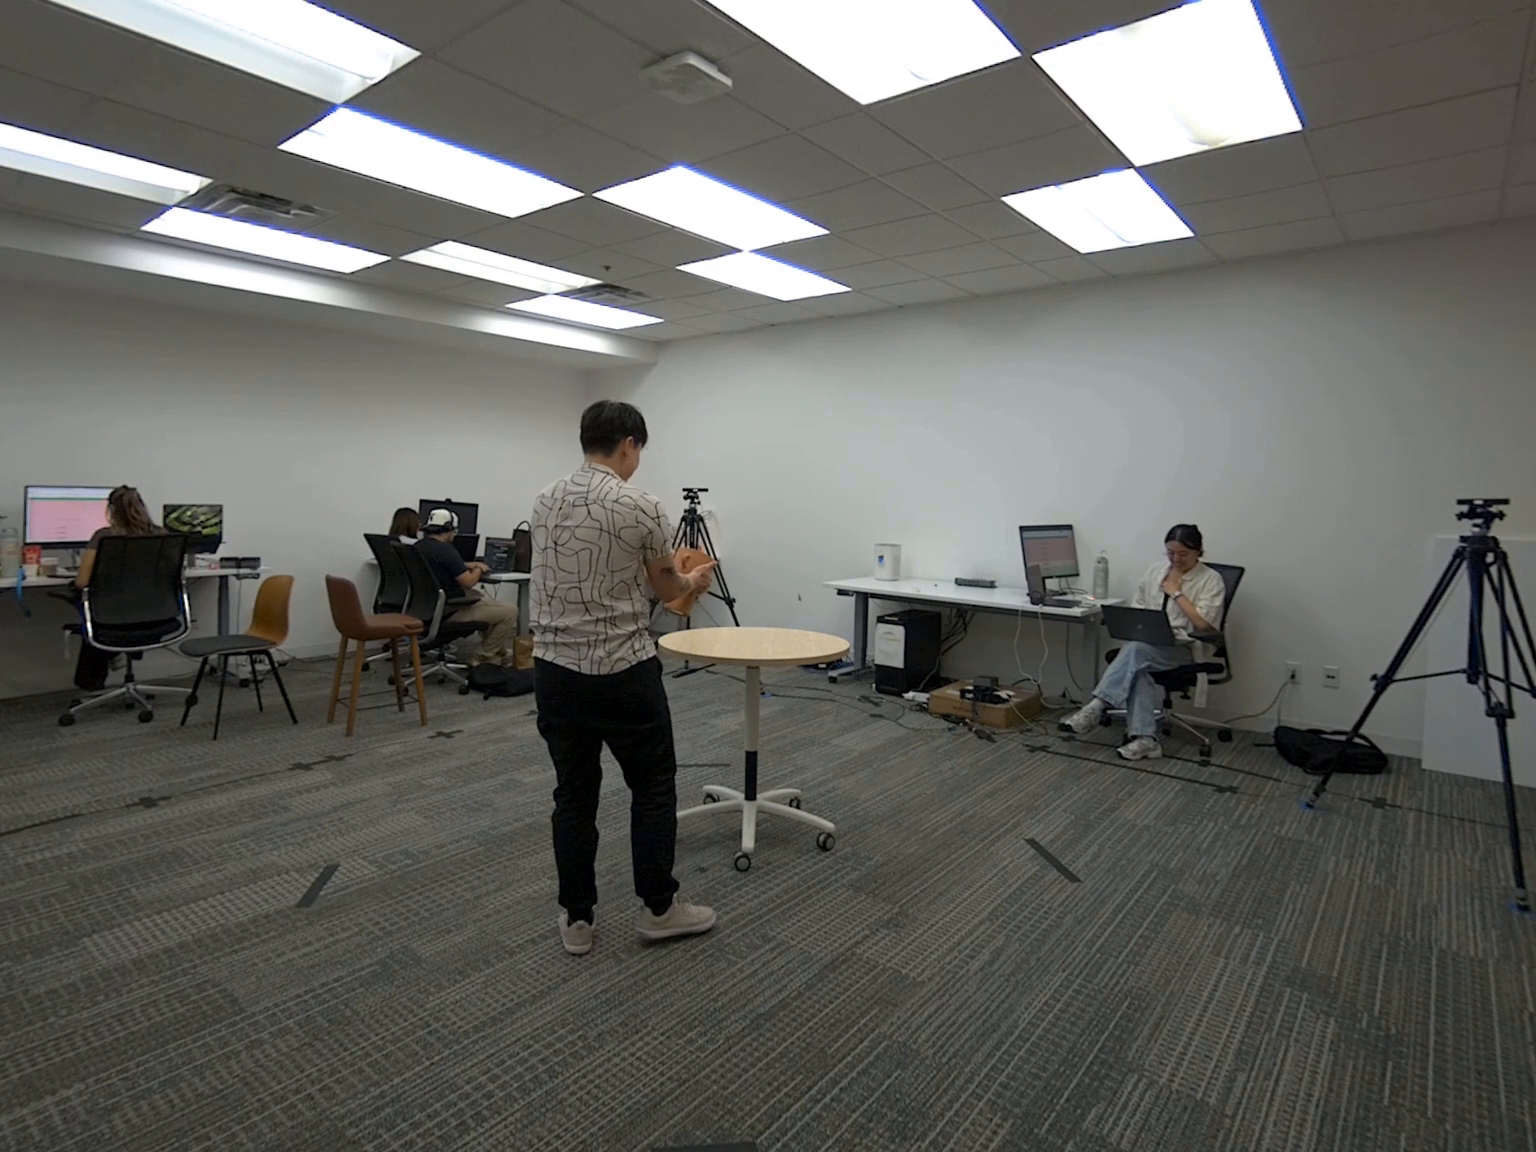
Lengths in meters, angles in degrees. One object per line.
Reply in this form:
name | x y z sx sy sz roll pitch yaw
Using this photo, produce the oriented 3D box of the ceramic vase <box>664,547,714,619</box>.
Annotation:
ceramic vase | -0.287 0.025 2.975 0.153 0.221 0.138 26 -16 -33
